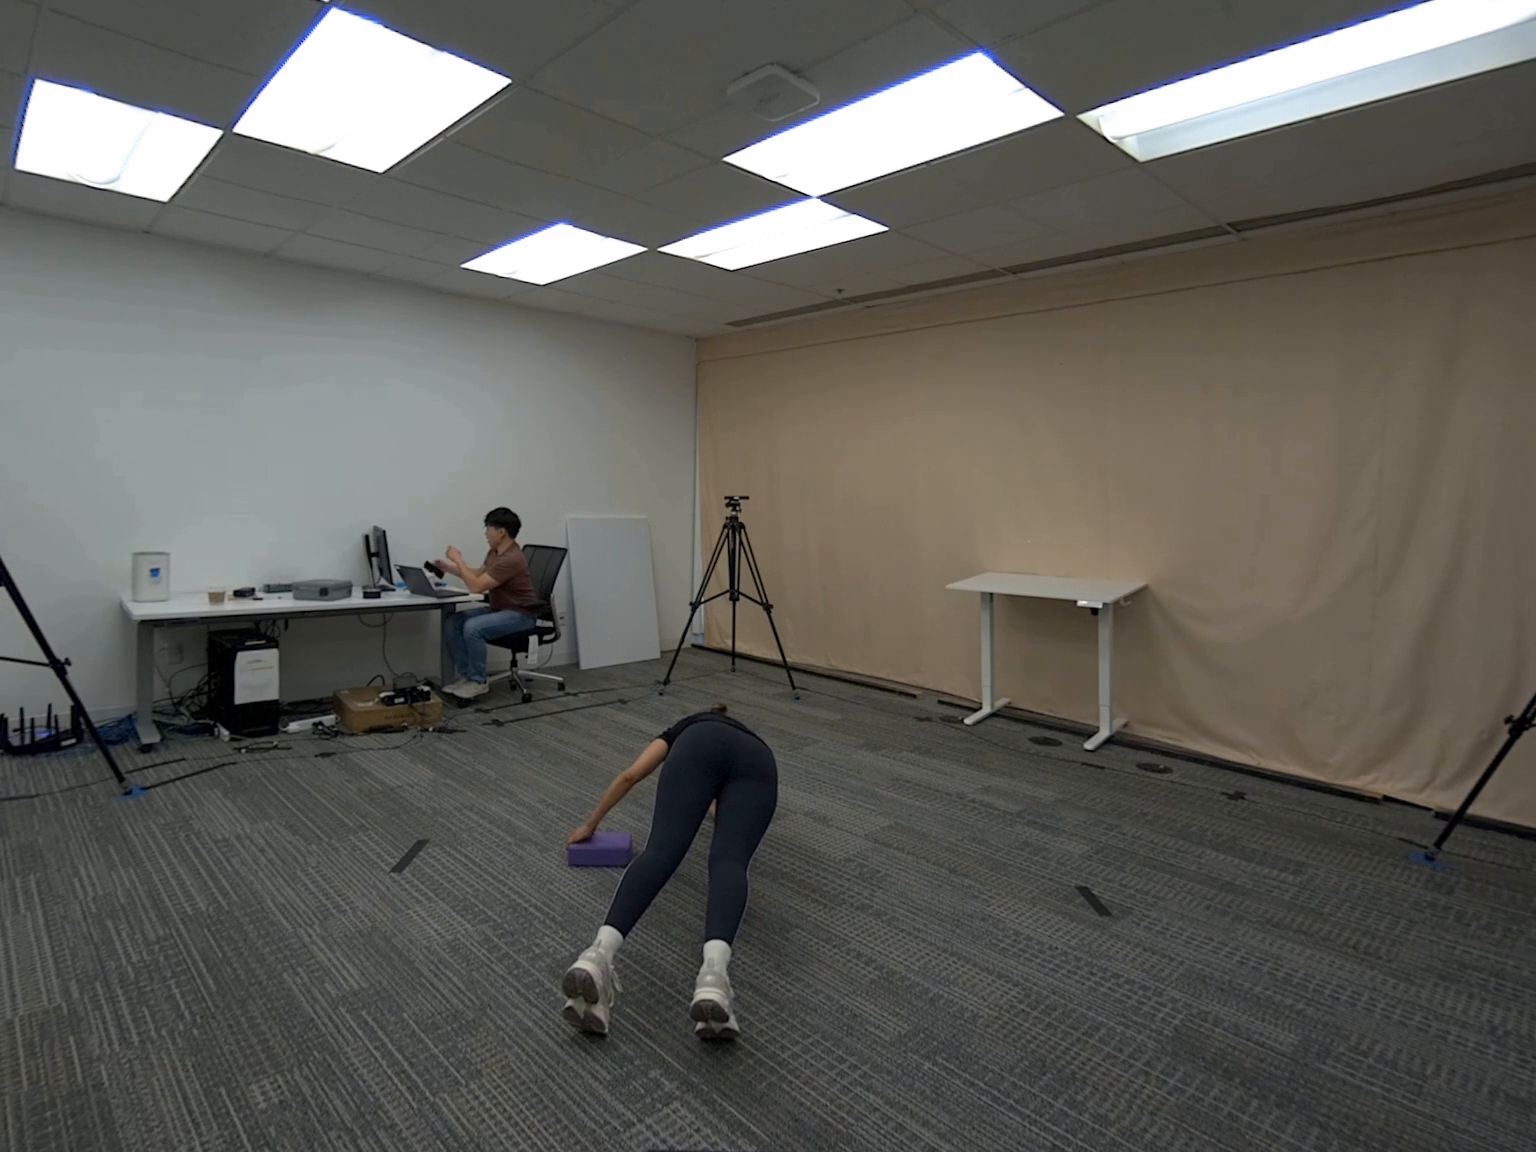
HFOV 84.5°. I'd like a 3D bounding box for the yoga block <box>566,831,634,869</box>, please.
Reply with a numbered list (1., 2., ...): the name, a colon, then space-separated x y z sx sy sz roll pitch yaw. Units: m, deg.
1. yoga block: -0.637 1.041 3.209 0.229 0.076 0.150 0 6 -1
